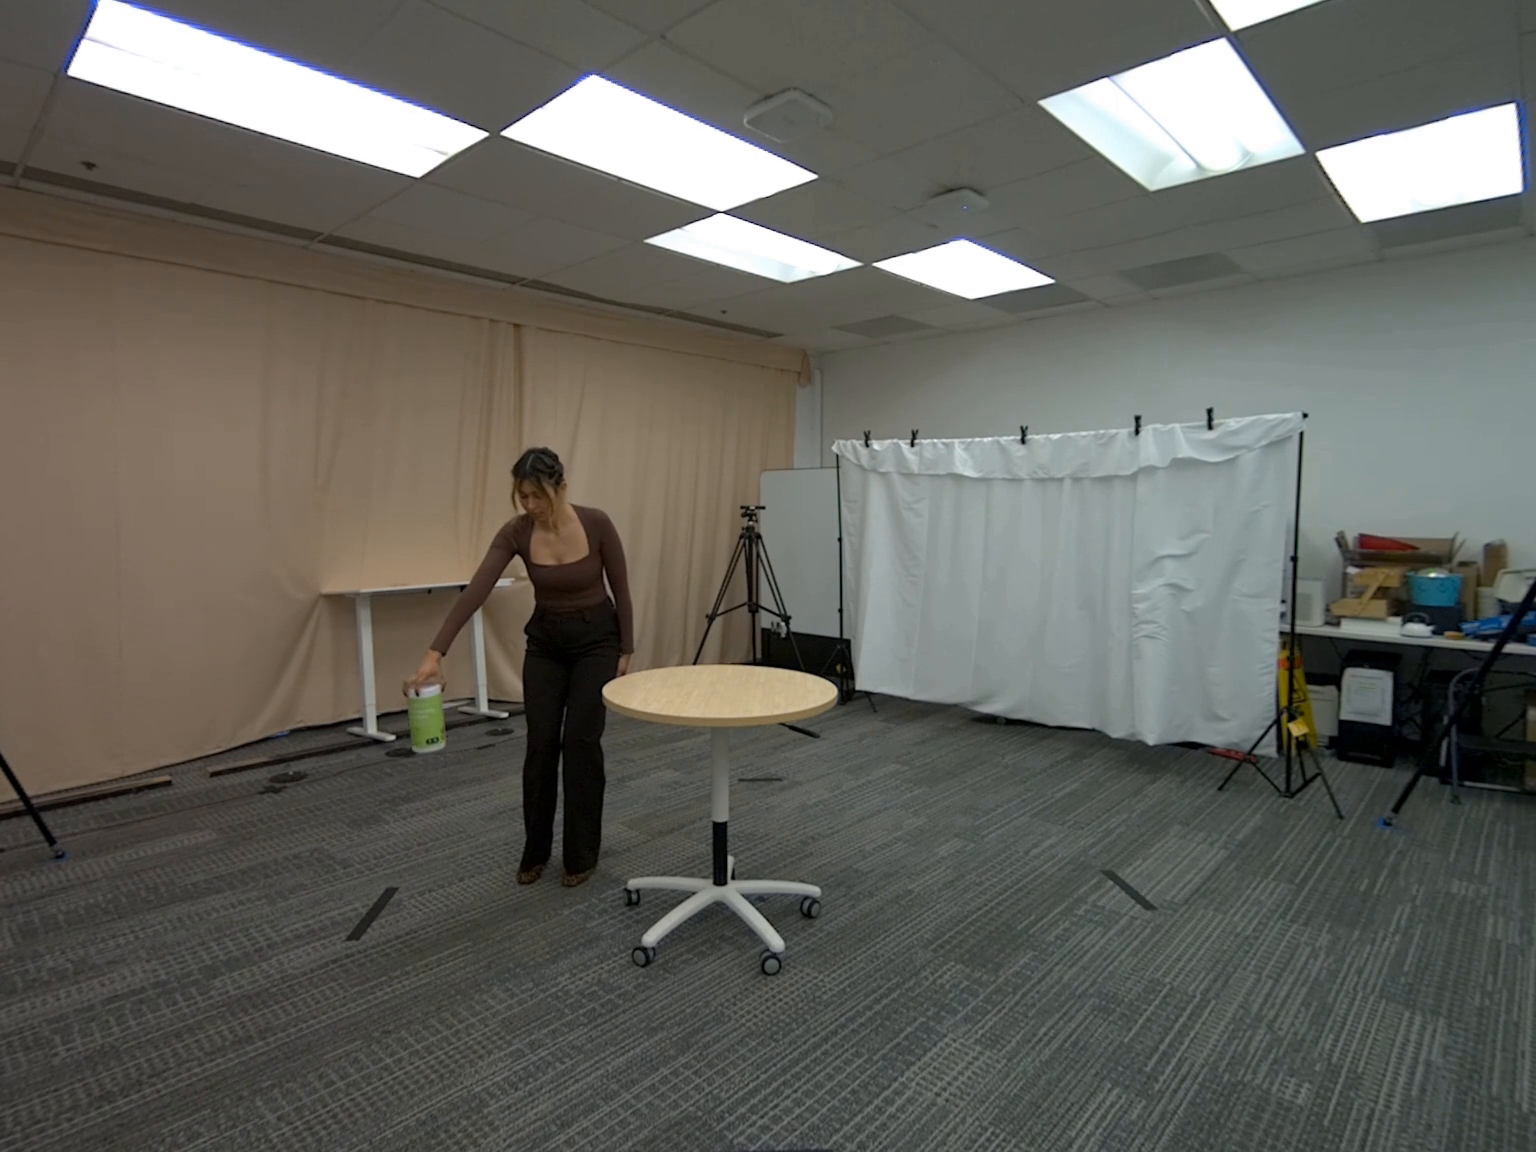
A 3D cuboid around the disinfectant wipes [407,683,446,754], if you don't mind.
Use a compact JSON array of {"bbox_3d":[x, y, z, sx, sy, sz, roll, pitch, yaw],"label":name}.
[{"bbox_3d":[-1.128,0.467,2.789,0.118,0.216,0.118,-2,6,-2],"label":"disinfectant wipes"}]
